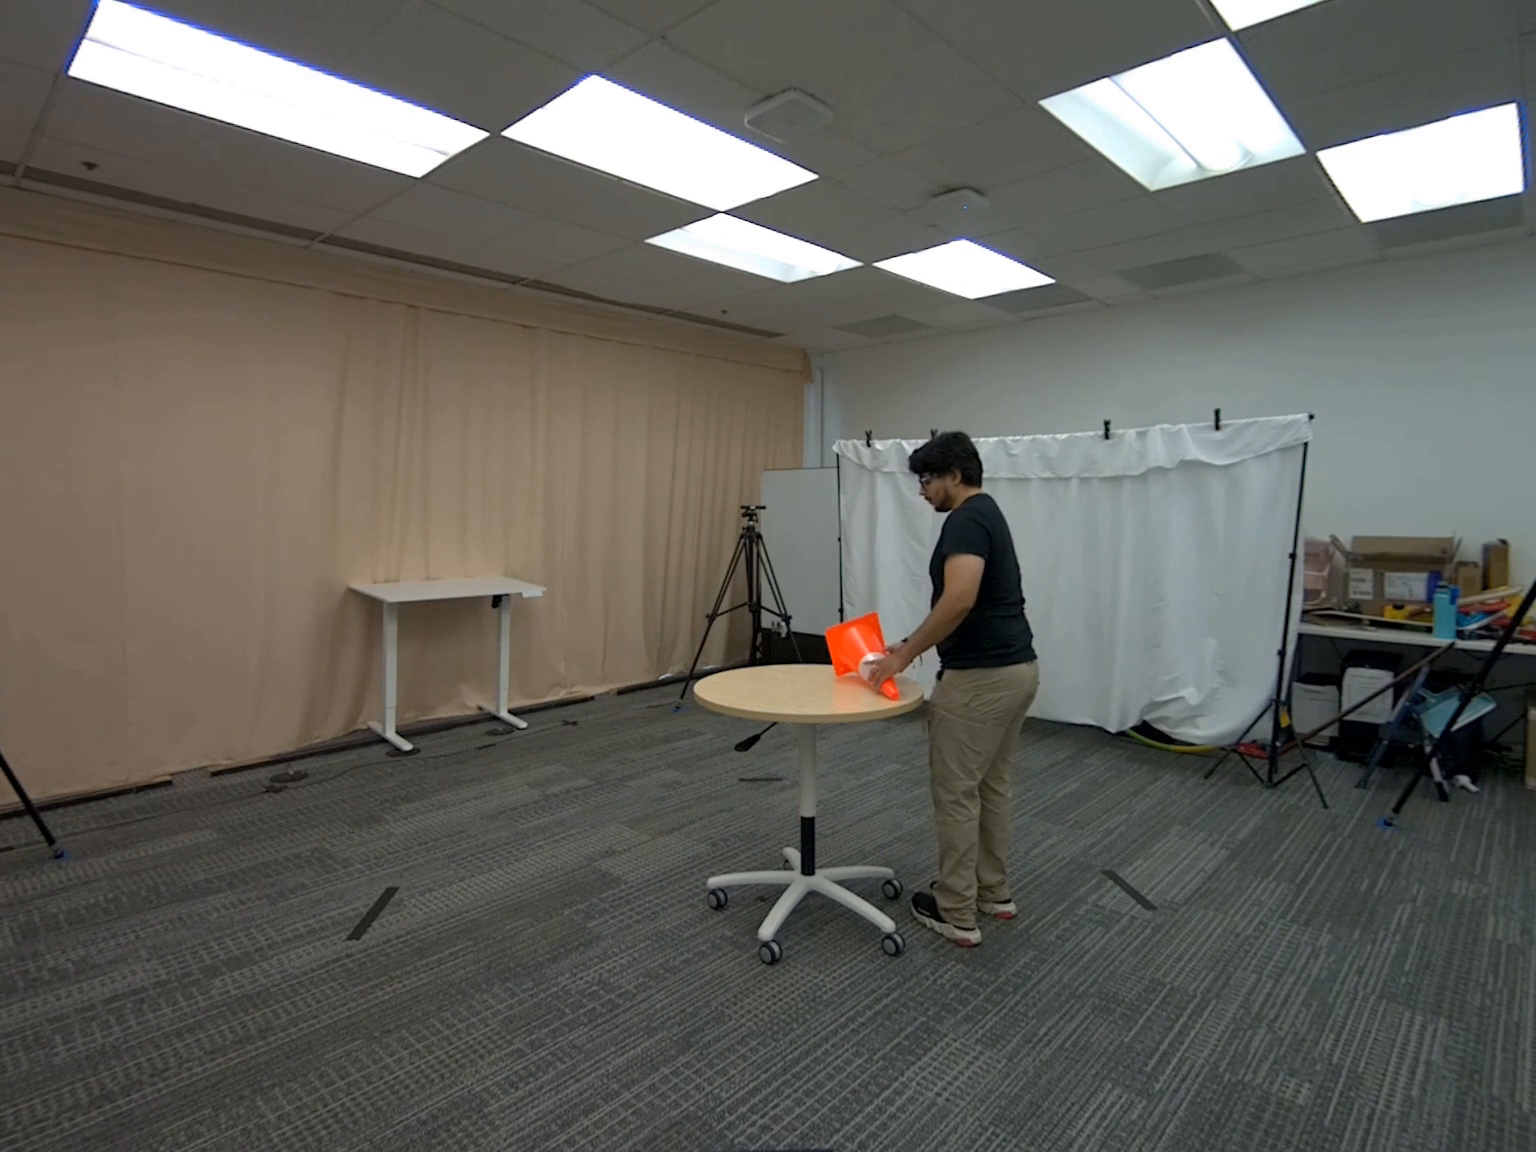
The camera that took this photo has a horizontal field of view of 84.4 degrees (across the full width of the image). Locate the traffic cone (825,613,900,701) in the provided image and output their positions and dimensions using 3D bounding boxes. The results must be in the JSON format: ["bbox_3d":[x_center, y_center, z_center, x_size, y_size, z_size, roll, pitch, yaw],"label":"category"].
[{"bbox_3d":[0.367,0.305,2.785,0.202,0.202,0.391,-18,20,-6],"label":"traffic cone"}]
